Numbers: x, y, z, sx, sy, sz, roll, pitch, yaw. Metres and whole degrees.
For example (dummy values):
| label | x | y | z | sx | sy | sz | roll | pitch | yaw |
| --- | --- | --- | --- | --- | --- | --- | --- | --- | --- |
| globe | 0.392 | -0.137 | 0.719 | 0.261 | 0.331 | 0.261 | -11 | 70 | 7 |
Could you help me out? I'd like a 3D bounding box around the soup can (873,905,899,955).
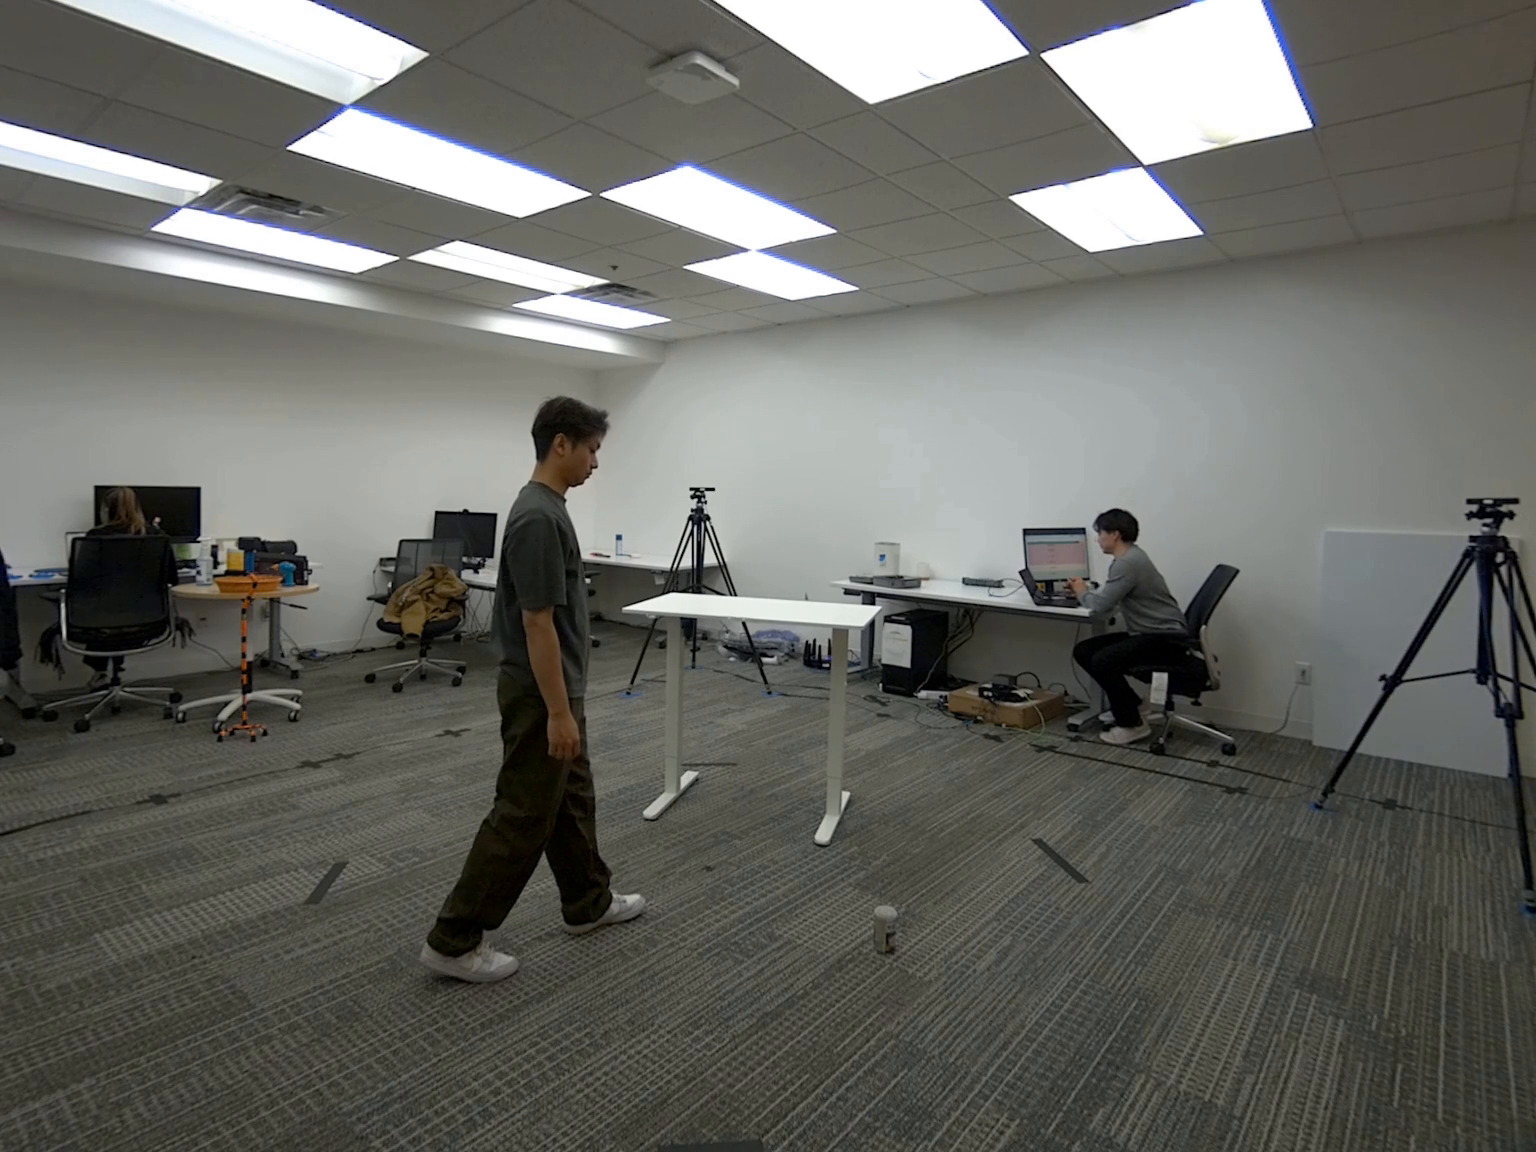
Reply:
| label | x | y | z | sx | sy | sz | roll | pitch | yaw |
| --- | --- | --- | --- | --- | --- | --- | --- | --- | --- |
| soup can | 0.347 | 1.077 | 2.584 | 0.067 | 0.121 | 0.067 | 2 | 5 | -2 |
